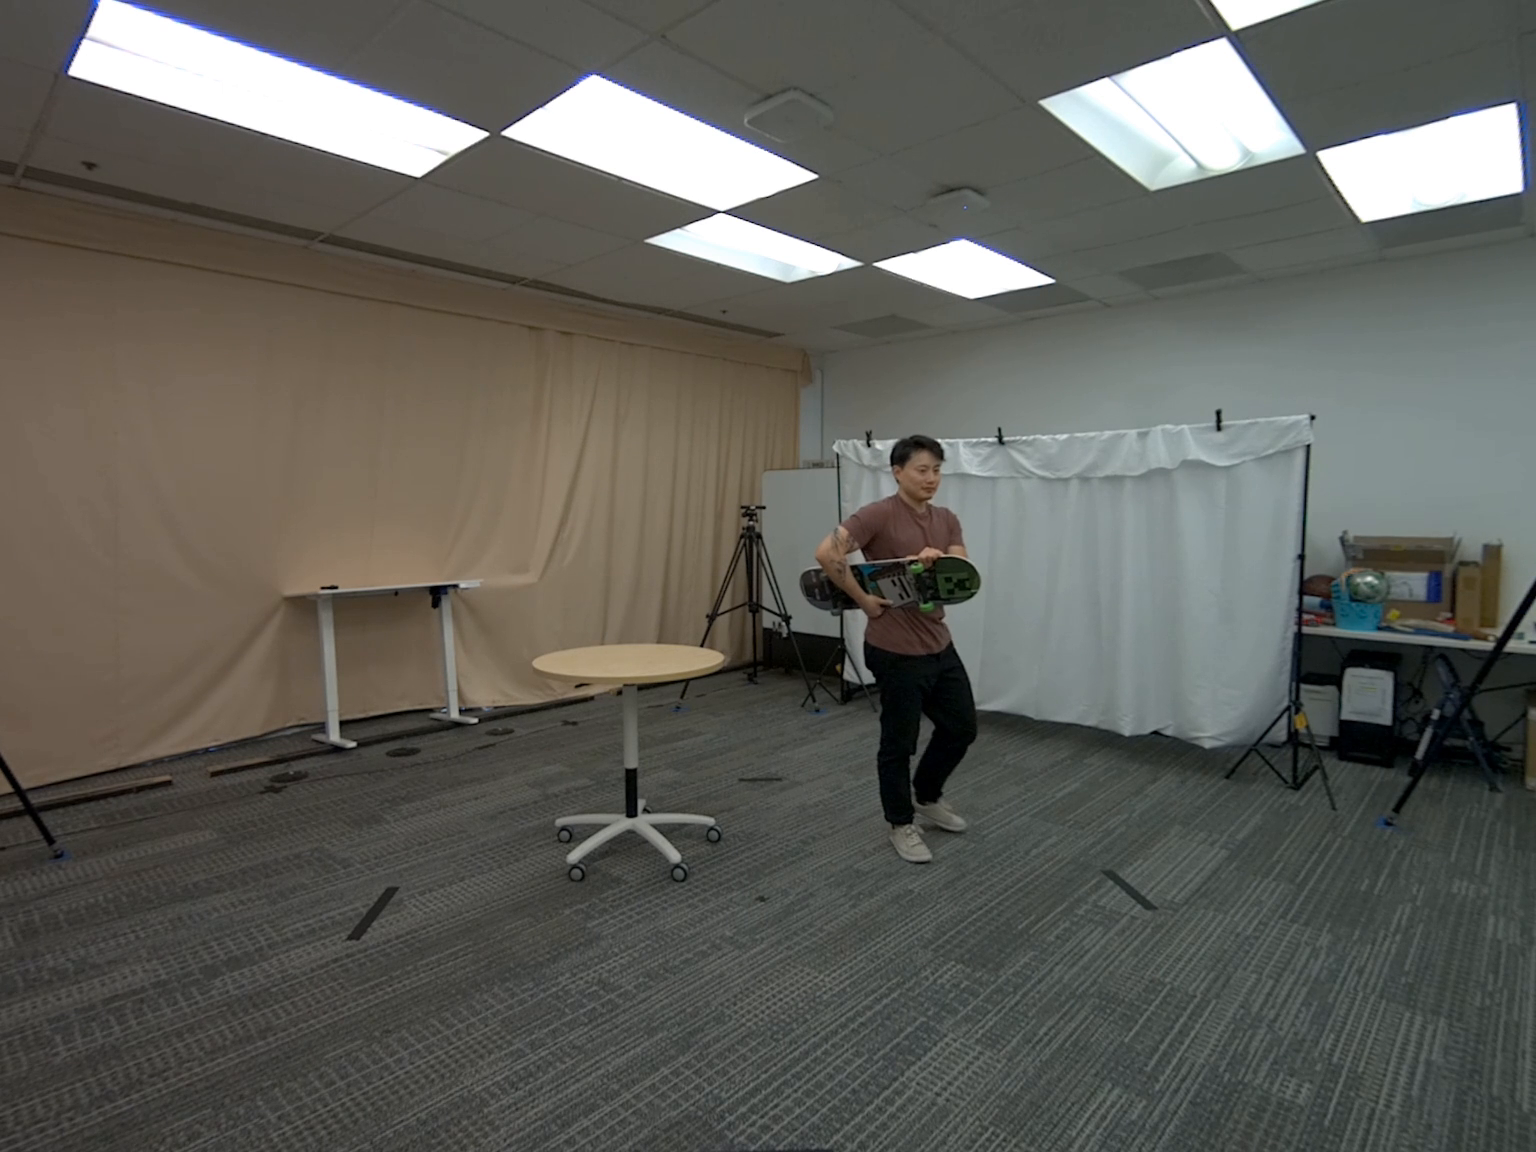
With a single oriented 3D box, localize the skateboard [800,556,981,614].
[{"bbox_3d":[0.425,0.054,3.268,0.809,0.191,0.108,-6,18,40],"label":"skateboard"}]
